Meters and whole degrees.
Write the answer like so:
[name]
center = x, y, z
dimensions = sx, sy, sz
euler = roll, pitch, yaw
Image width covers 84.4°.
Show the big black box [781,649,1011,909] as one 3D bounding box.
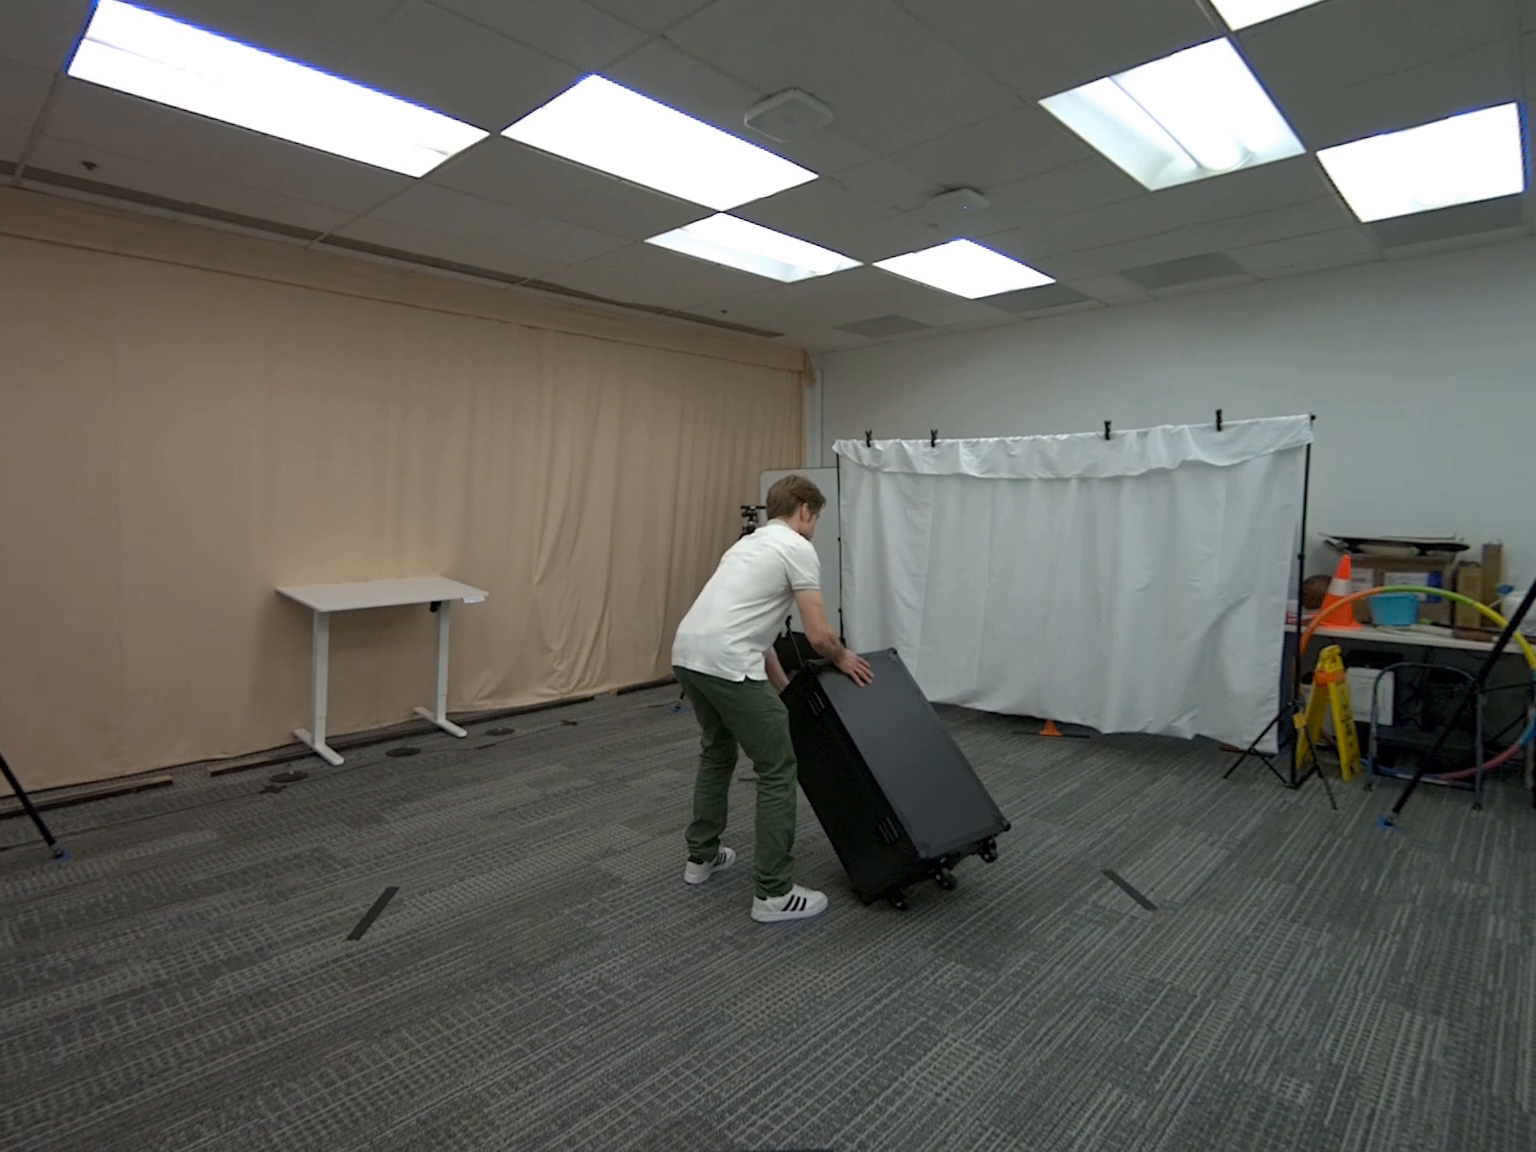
[big black box]
center = 0.434, 0.743, 3.114
dimensions = 0.507, 0.893, 0.386
euler = -2, -39, -40
